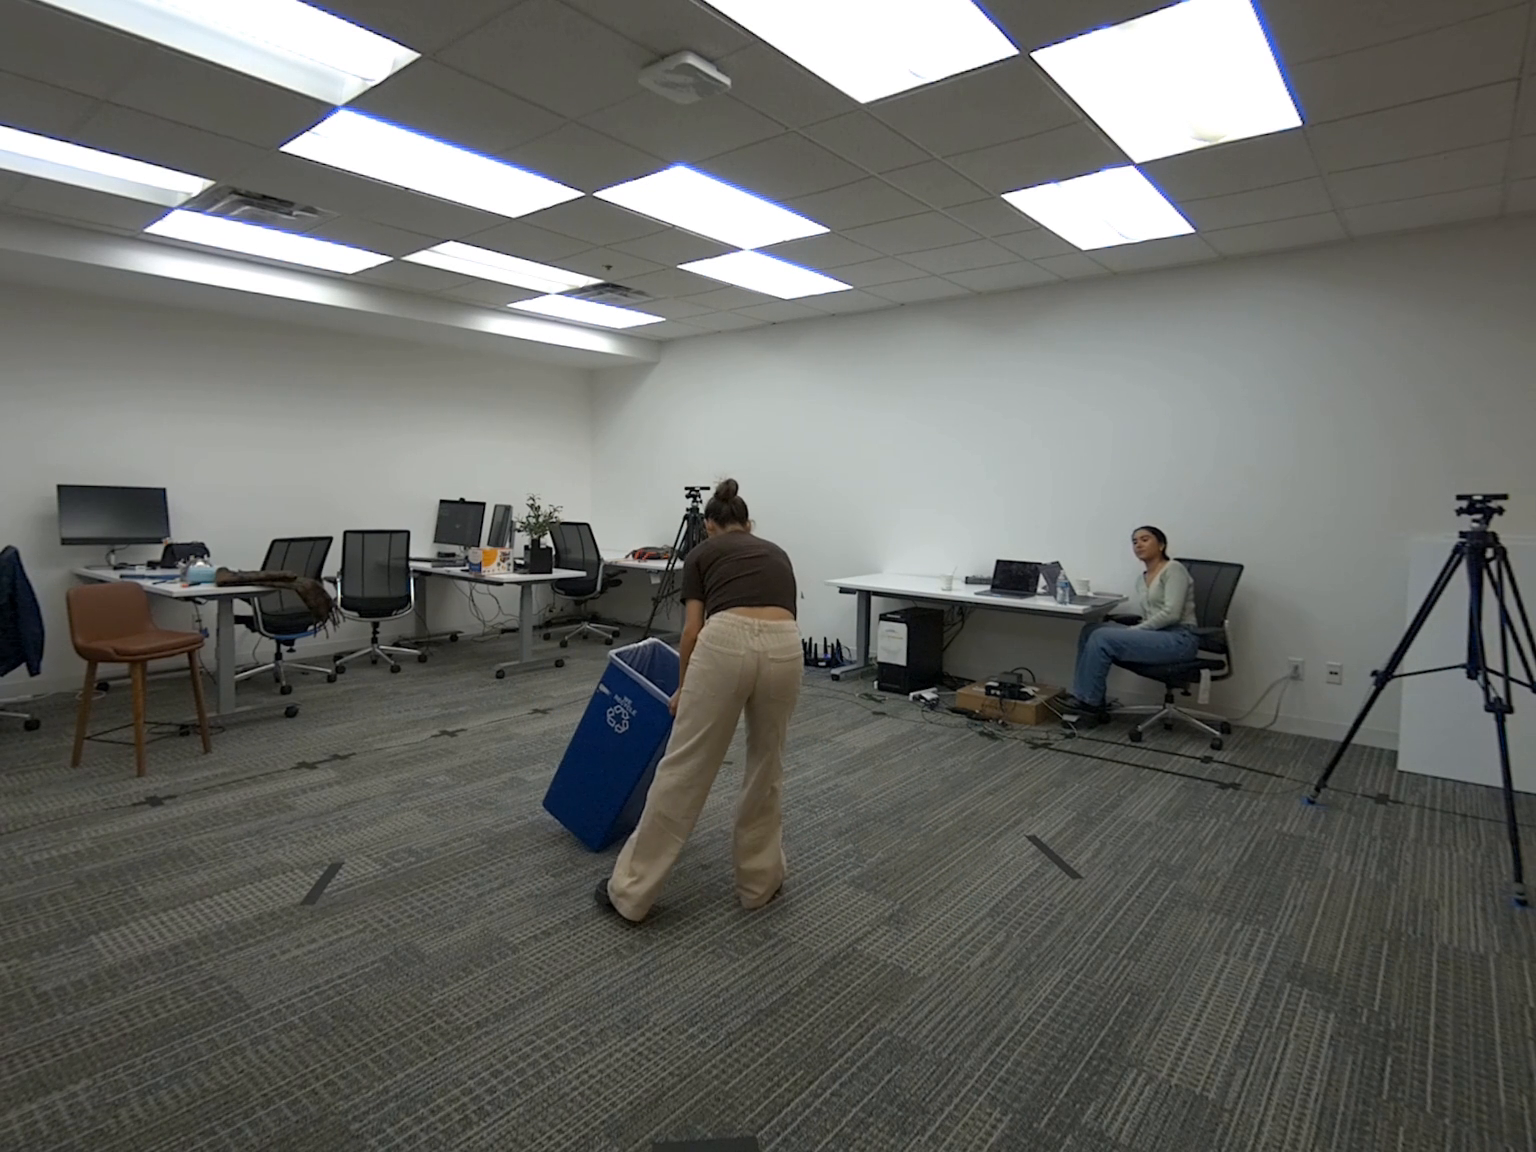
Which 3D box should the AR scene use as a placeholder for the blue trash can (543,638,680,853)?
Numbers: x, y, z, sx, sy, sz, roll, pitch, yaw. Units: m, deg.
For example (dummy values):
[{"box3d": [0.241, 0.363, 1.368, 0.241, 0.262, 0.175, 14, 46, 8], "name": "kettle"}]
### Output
[{"box3d": [-0.552, 0.658, 3.310, 0.385, 0.709, 0.369, 33, 16, 20], "name": "blue trash can"}]
